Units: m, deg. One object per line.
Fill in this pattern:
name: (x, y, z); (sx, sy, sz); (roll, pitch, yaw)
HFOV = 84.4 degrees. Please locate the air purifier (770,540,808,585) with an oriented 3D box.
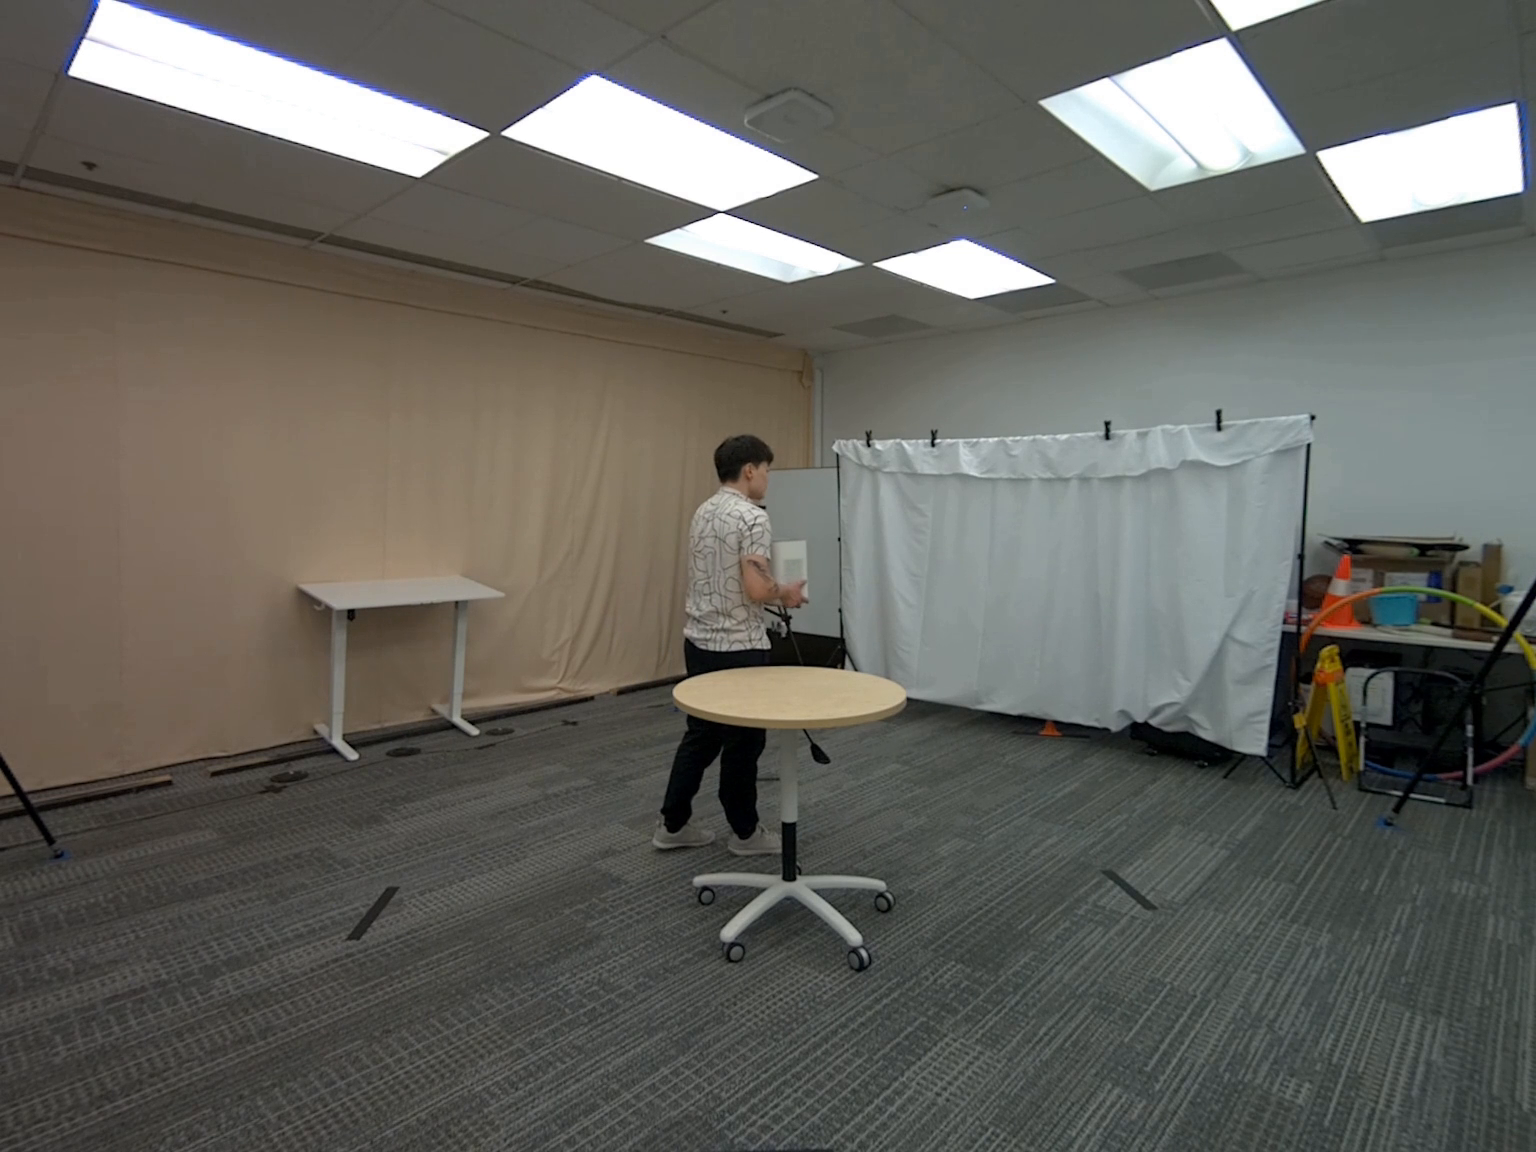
air purifier: (0.072, -0.016, 3.460); (0.168, 0.265, 0.175); (-3, 3, -24)
